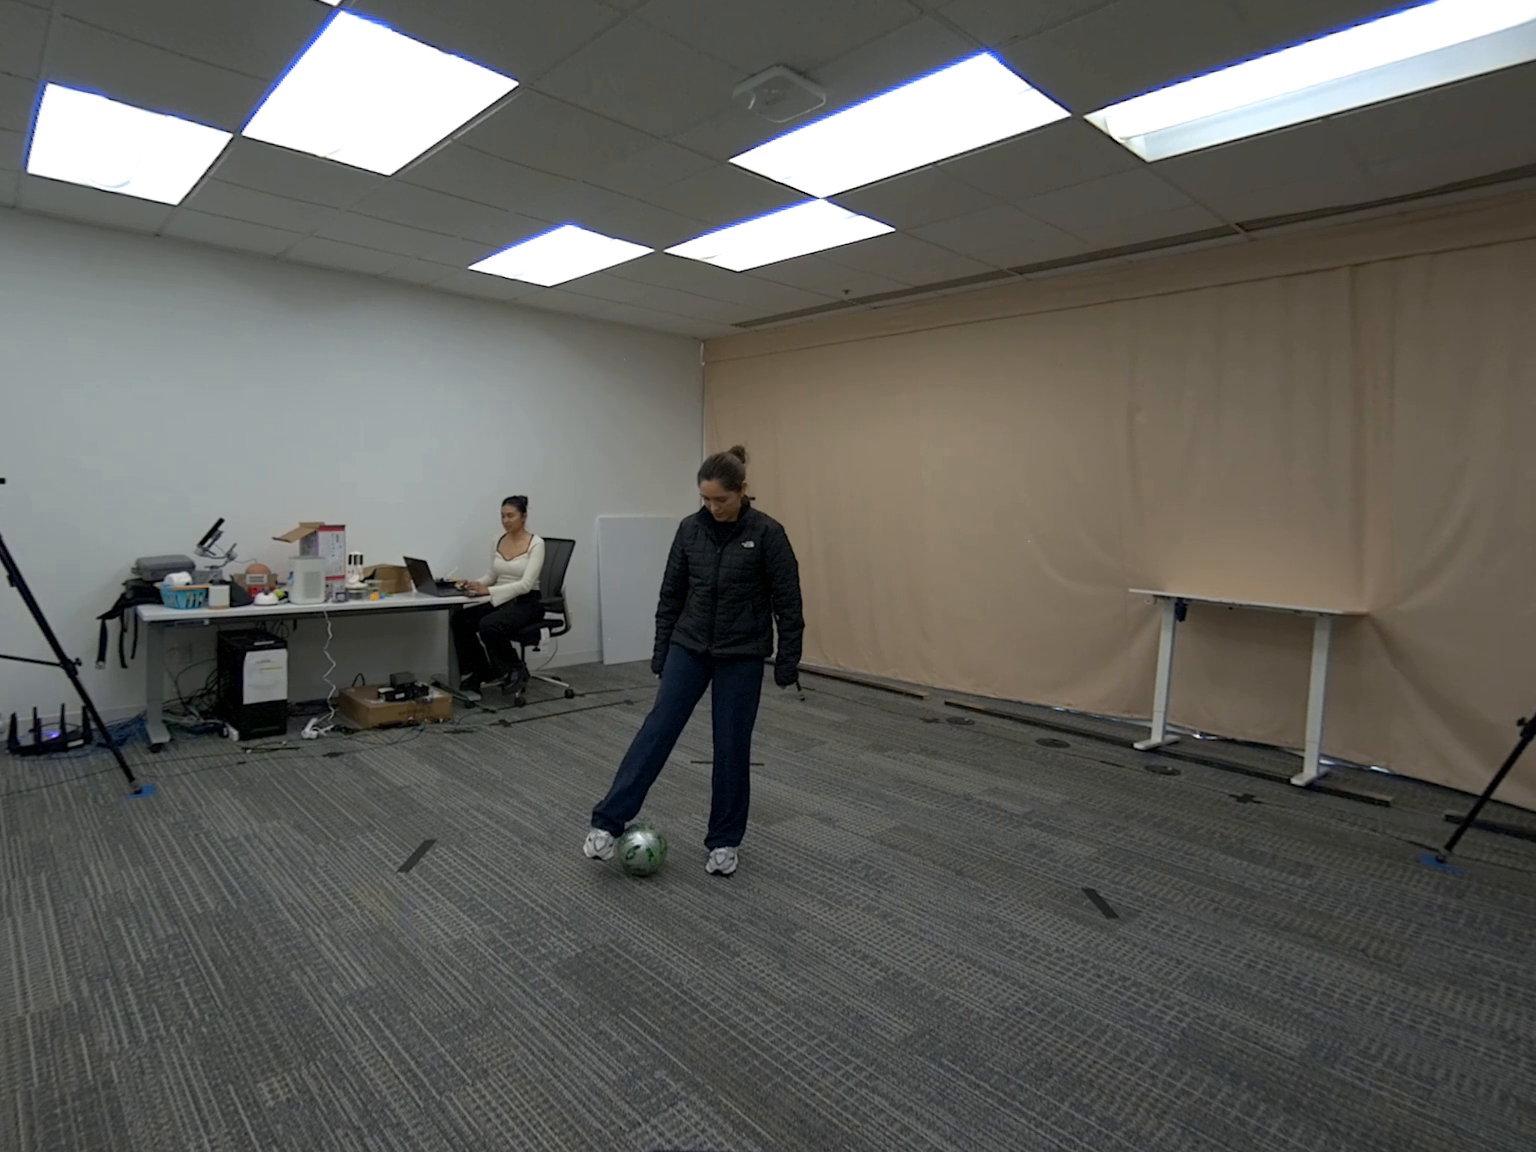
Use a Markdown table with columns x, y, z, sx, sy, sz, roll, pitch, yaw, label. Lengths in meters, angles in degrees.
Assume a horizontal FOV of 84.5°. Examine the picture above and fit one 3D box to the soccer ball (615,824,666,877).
| x | y | z | sx | sy | sz | roll | pitch | yaw | label |
| --- | --- | --- | --- | --- | --- | --- | --- | --- | --- |
| -0.471 | 1.004 | 3.102 | 0.187 | 0.187 | 0.188 | 1 | 4 | -1 | soccer ball |
